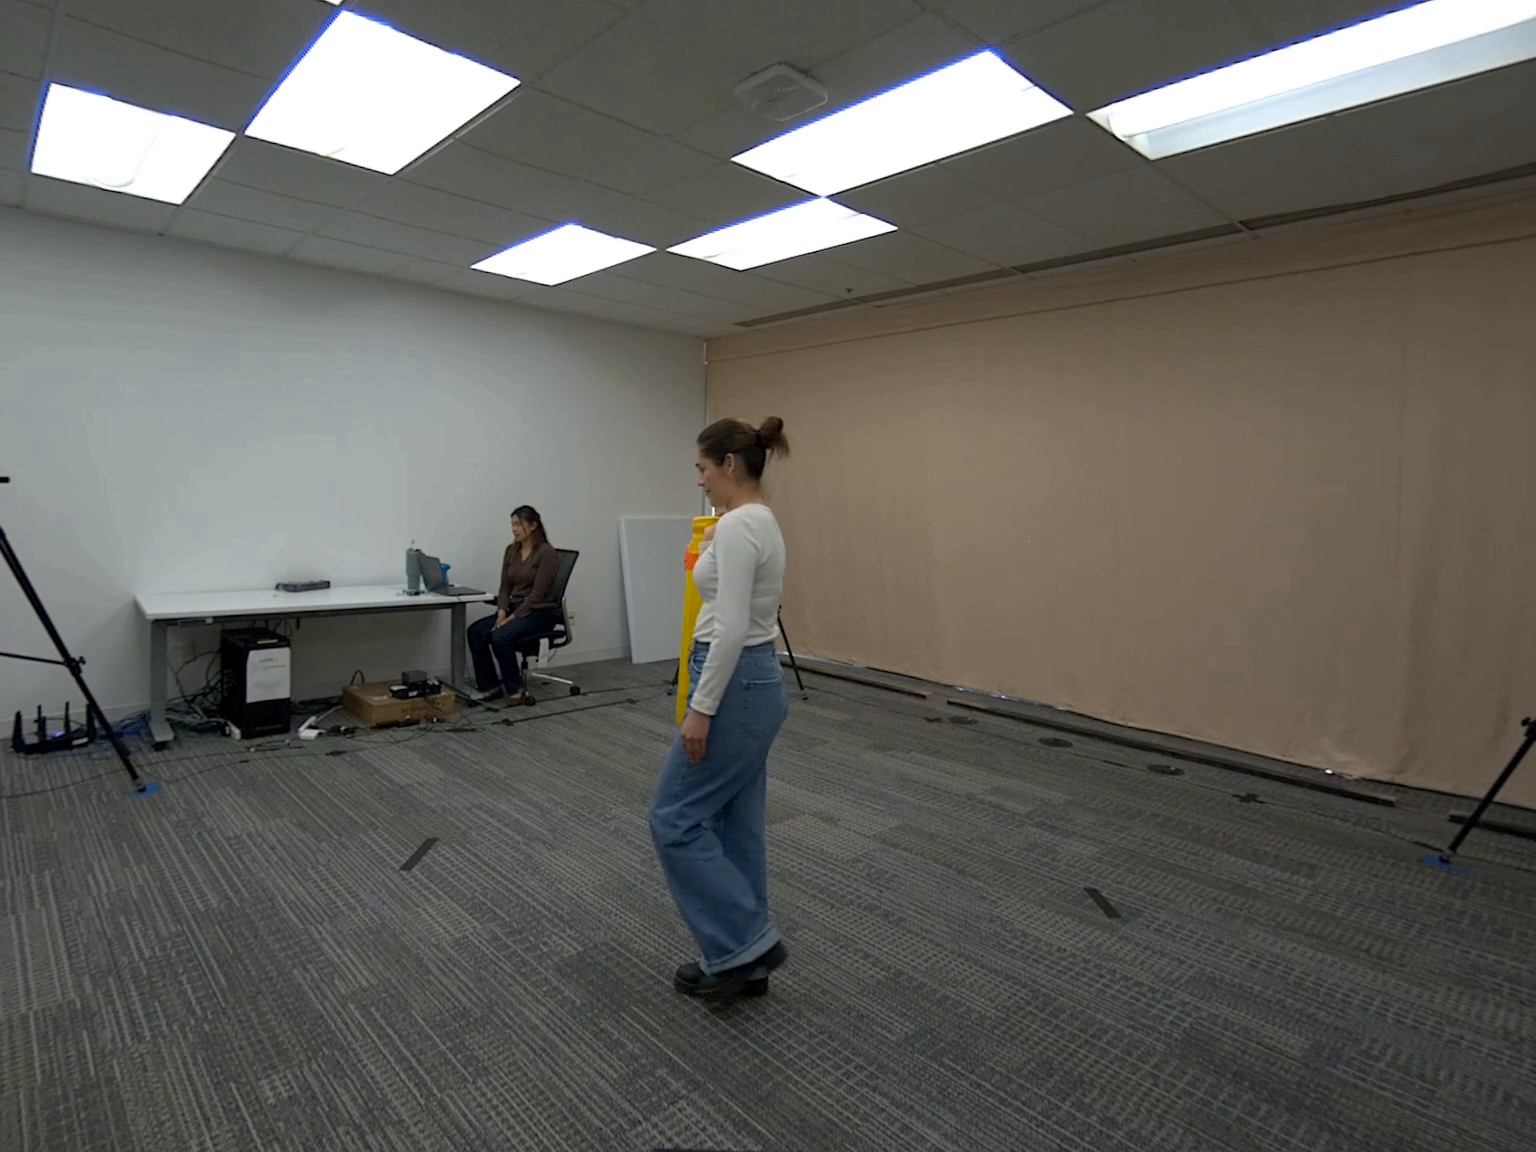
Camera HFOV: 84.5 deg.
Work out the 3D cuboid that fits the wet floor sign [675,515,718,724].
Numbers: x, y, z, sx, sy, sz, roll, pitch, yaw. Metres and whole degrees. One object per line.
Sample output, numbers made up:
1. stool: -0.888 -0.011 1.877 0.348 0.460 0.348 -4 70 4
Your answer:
1. wet floor sign: -0.147 0.131 2.716 0.283 0.641 0.291 2 10 2
